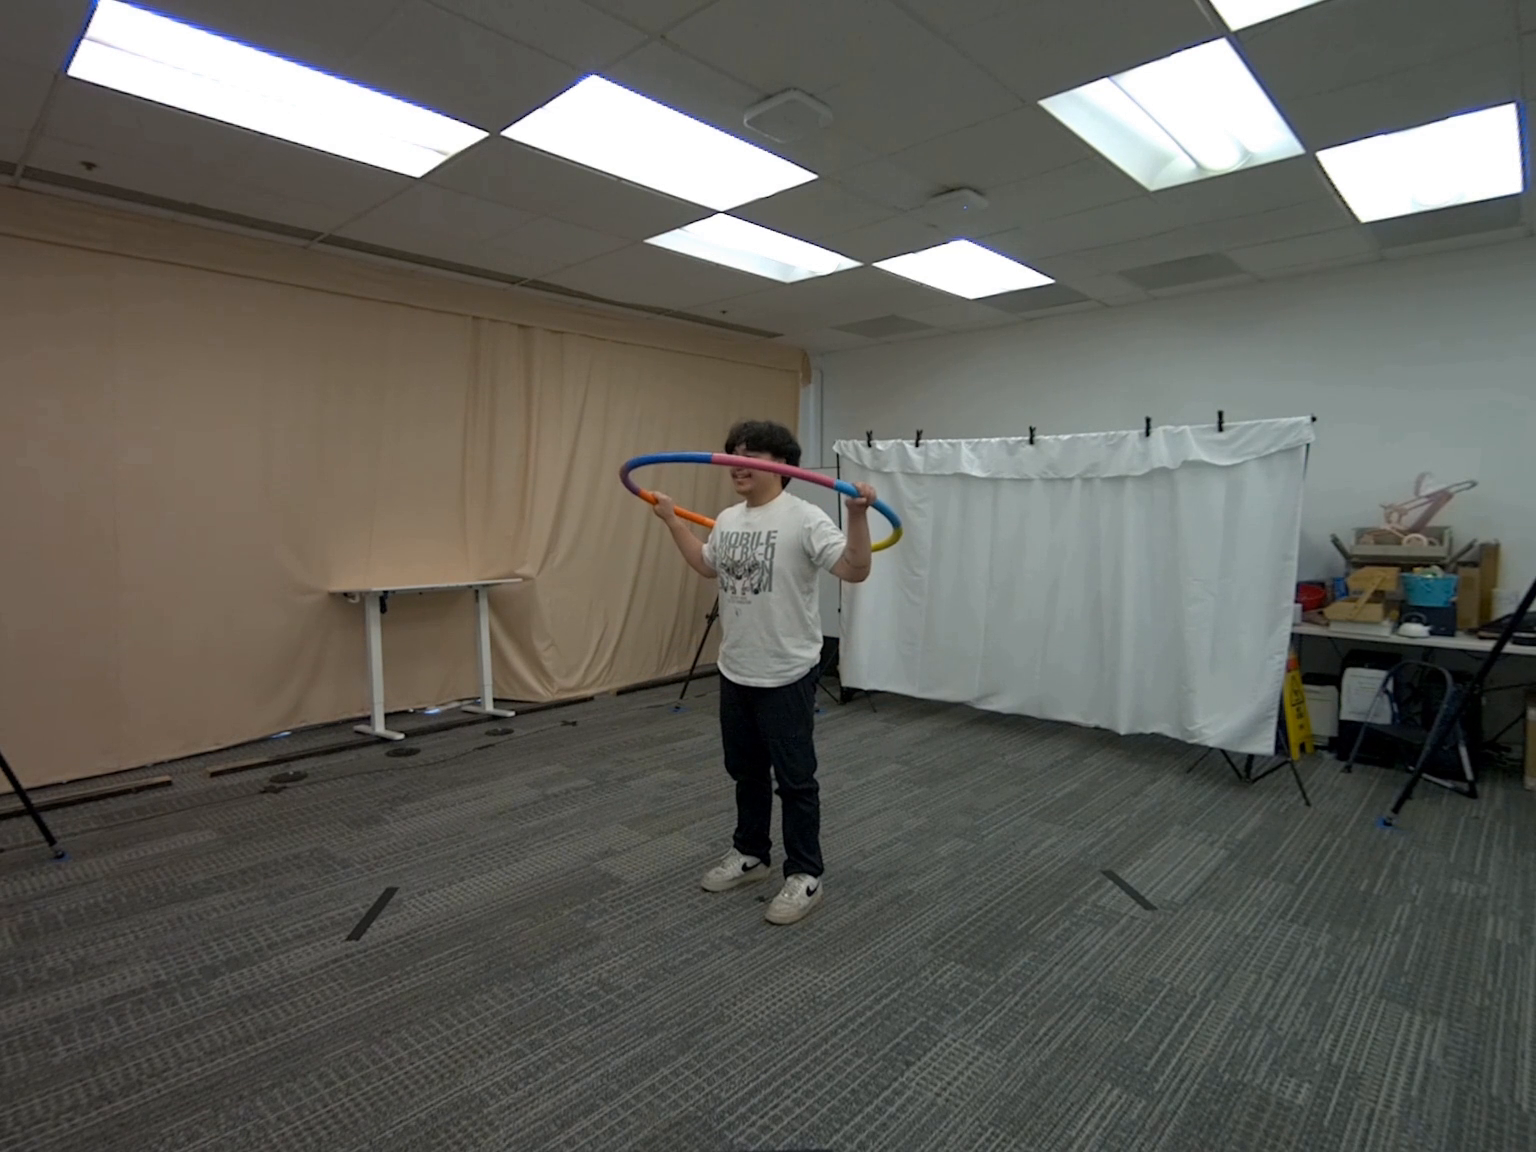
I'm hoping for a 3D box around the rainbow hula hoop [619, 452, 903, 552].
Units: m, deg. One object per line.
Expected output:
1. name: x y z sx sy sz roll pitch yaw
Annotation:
1. rainbow hula hoop: -0.023 -0.233 2.912 0.988 0.052 0.980 13 -10 1
